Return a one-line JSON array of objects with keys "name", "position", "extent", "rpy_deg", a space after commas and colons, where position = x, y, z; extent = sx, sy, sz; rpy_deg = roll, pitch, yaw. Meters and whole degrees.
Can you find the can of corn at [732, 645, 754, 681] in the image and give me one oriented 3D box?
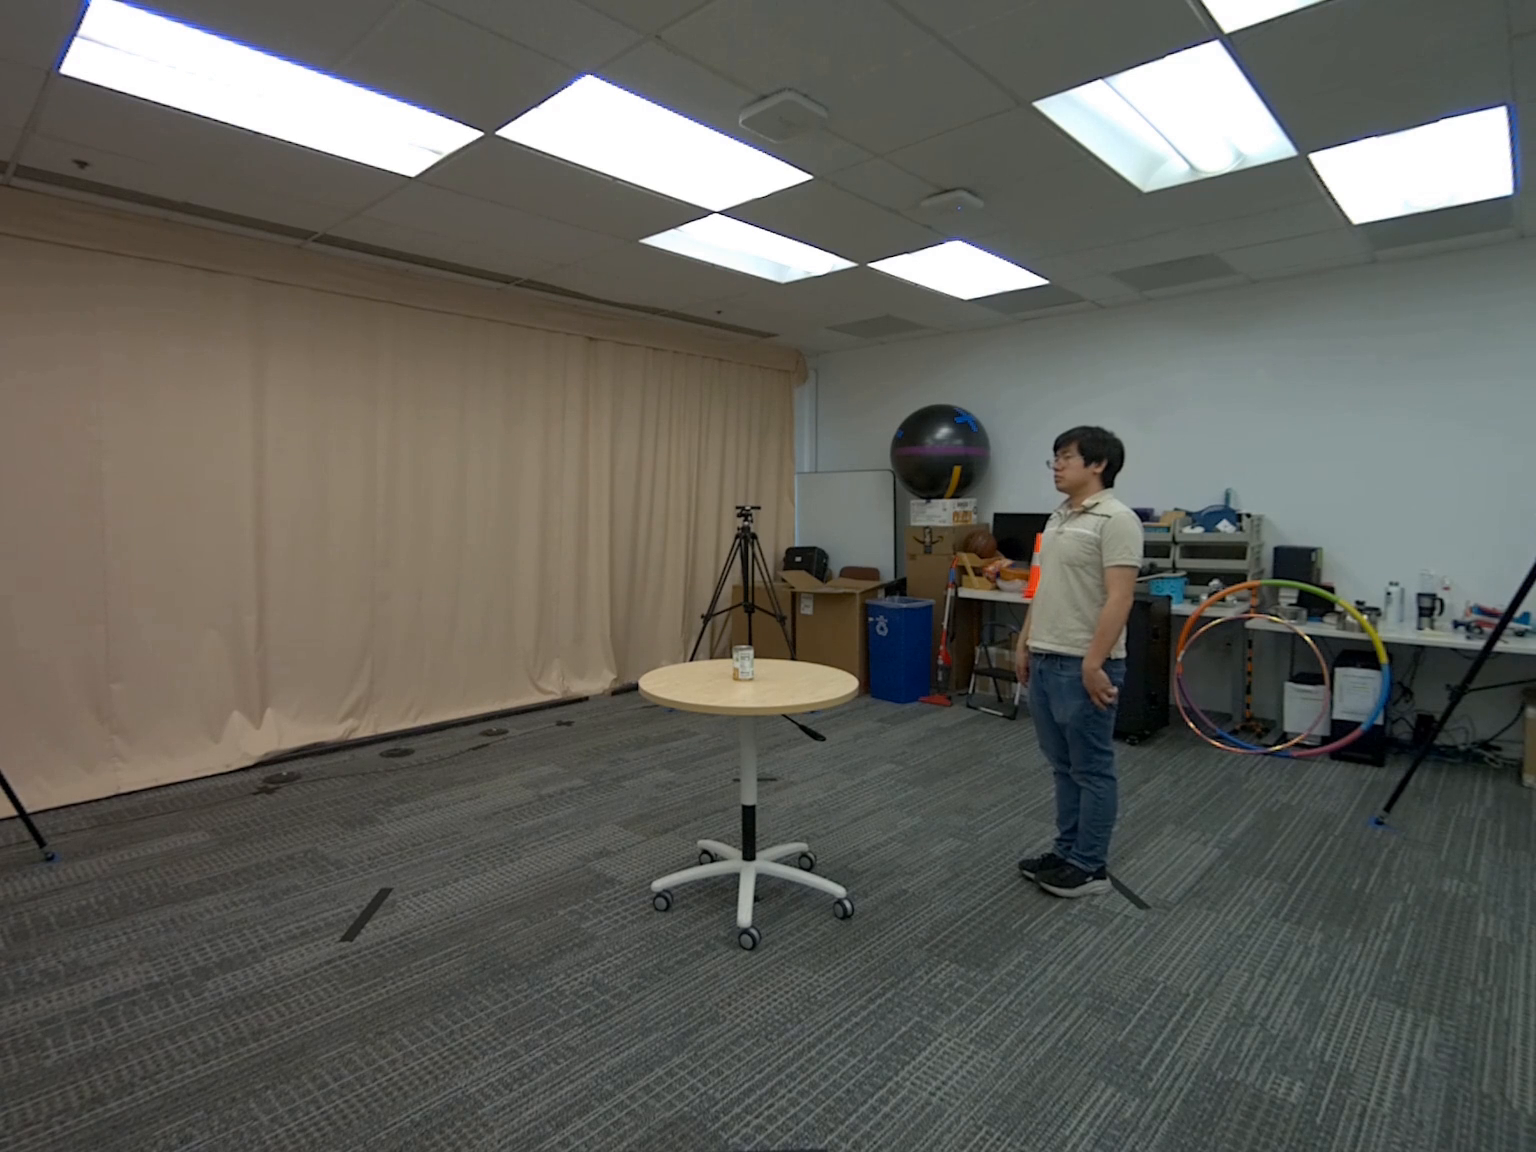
[{"name": "can of corn", "position": [-0.082, 0.313, 2.957], "extent": [0.074, 0.111, 0.074], "rpy_deg": [0, 5, -2]}]
